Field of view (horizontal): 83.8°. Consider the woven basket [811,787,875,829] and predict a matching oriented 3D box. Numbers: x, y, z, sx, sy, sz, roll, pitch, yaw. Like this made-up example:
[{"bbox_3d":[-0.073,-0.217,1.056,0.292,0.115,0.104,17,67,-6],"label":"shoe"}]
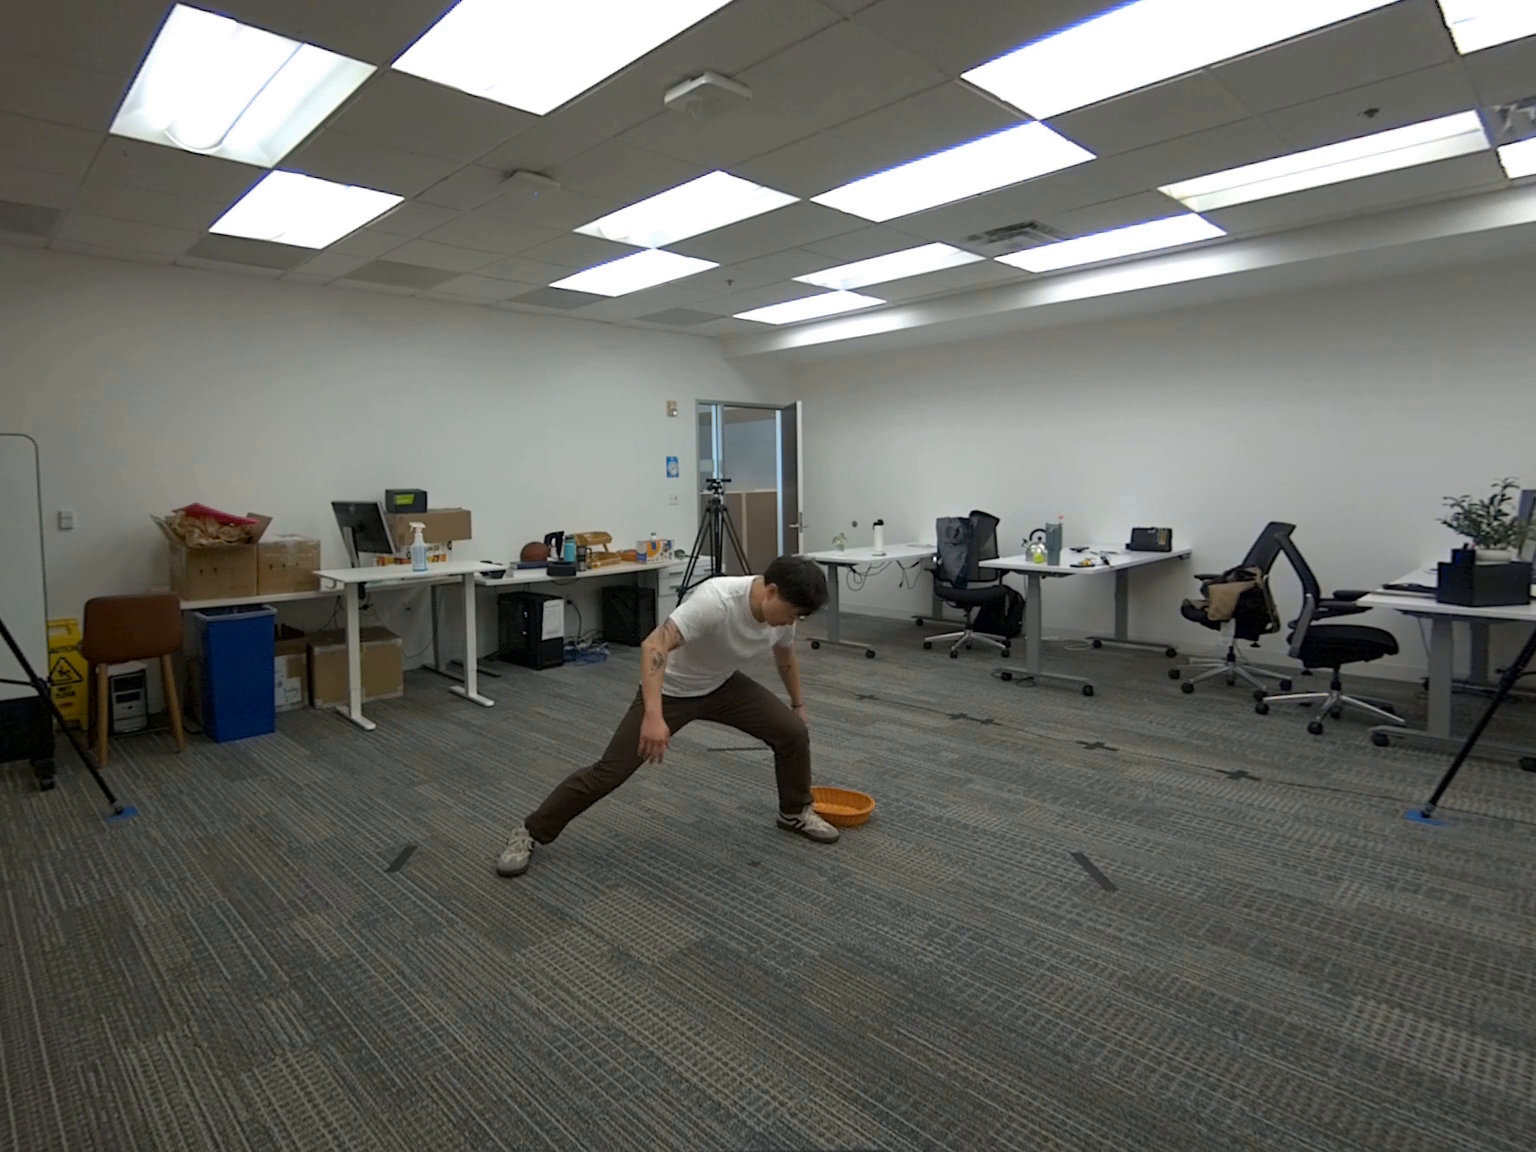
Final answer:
[{"bbox_3d":[0.264,0.952,3.523,0.359,0.073,0.248,3,9,26],"label":"woven basket"}]
